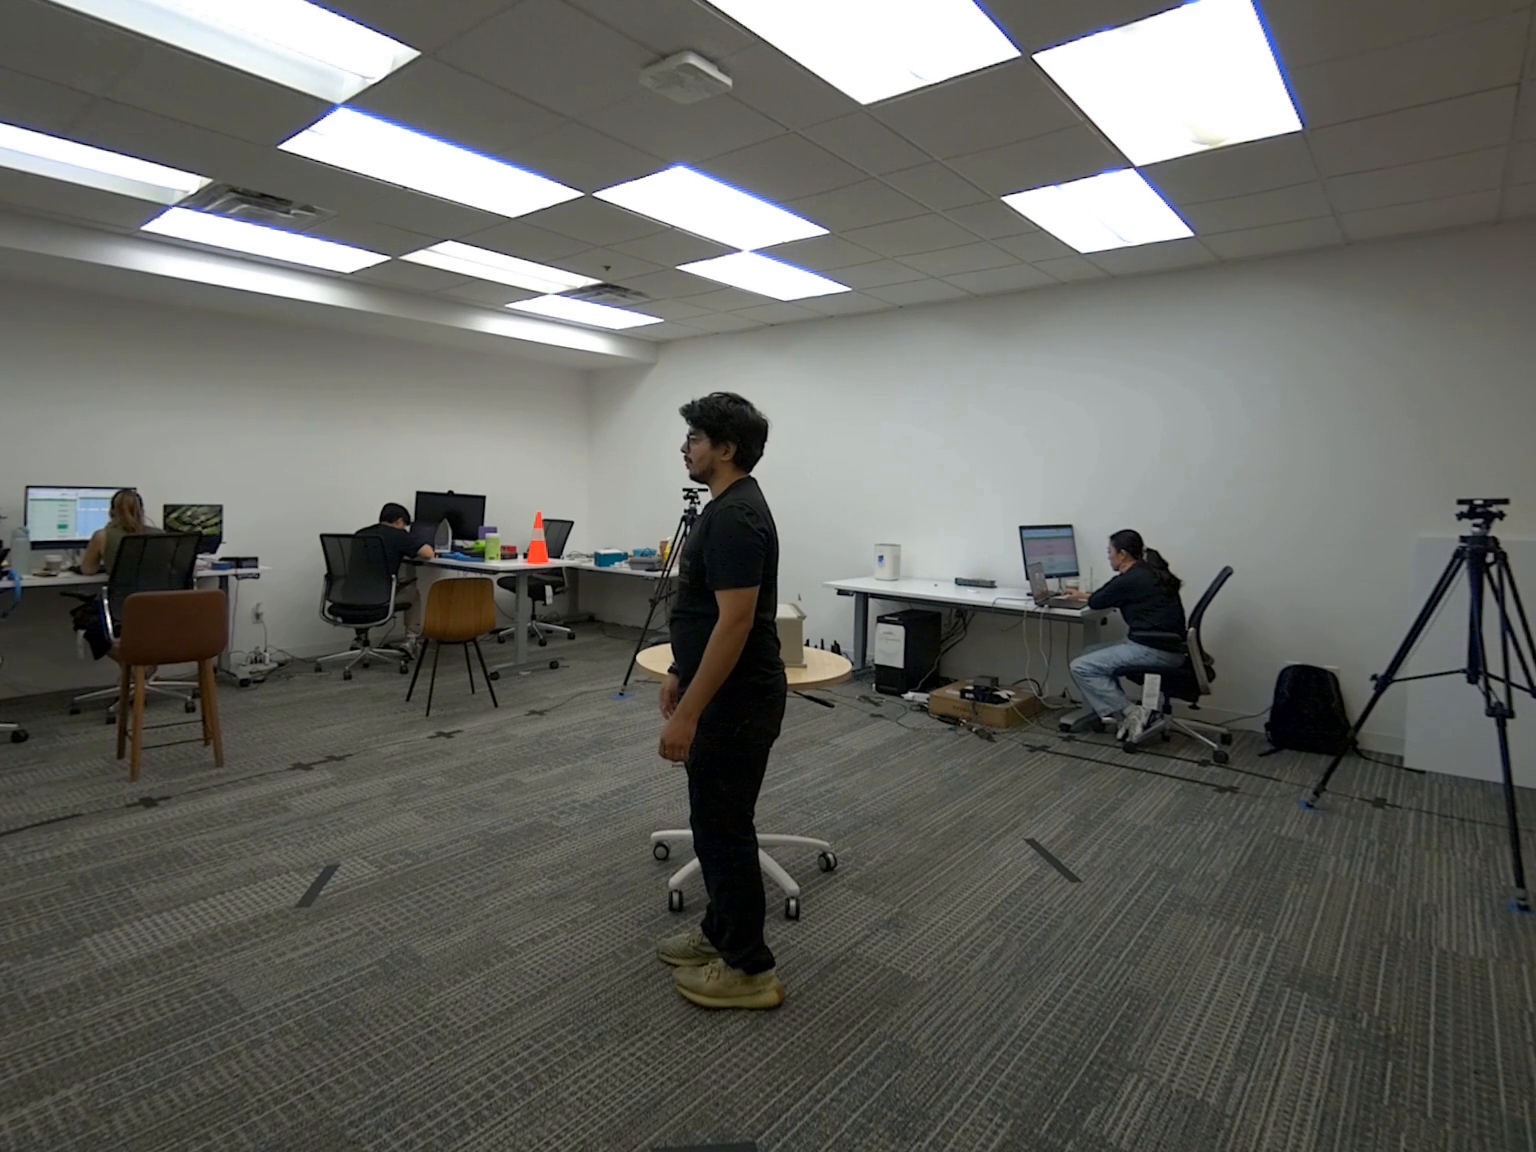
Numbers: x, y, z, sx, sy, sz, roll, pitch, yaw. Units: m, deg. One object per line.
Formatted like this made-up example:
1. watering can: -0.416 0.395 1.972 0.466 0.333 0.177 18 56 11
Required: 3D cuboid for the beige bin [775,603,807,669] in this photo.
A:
1. beige bin: -0.097 0.193 3.100 0.421 0.188 0.380 1 5 -3
